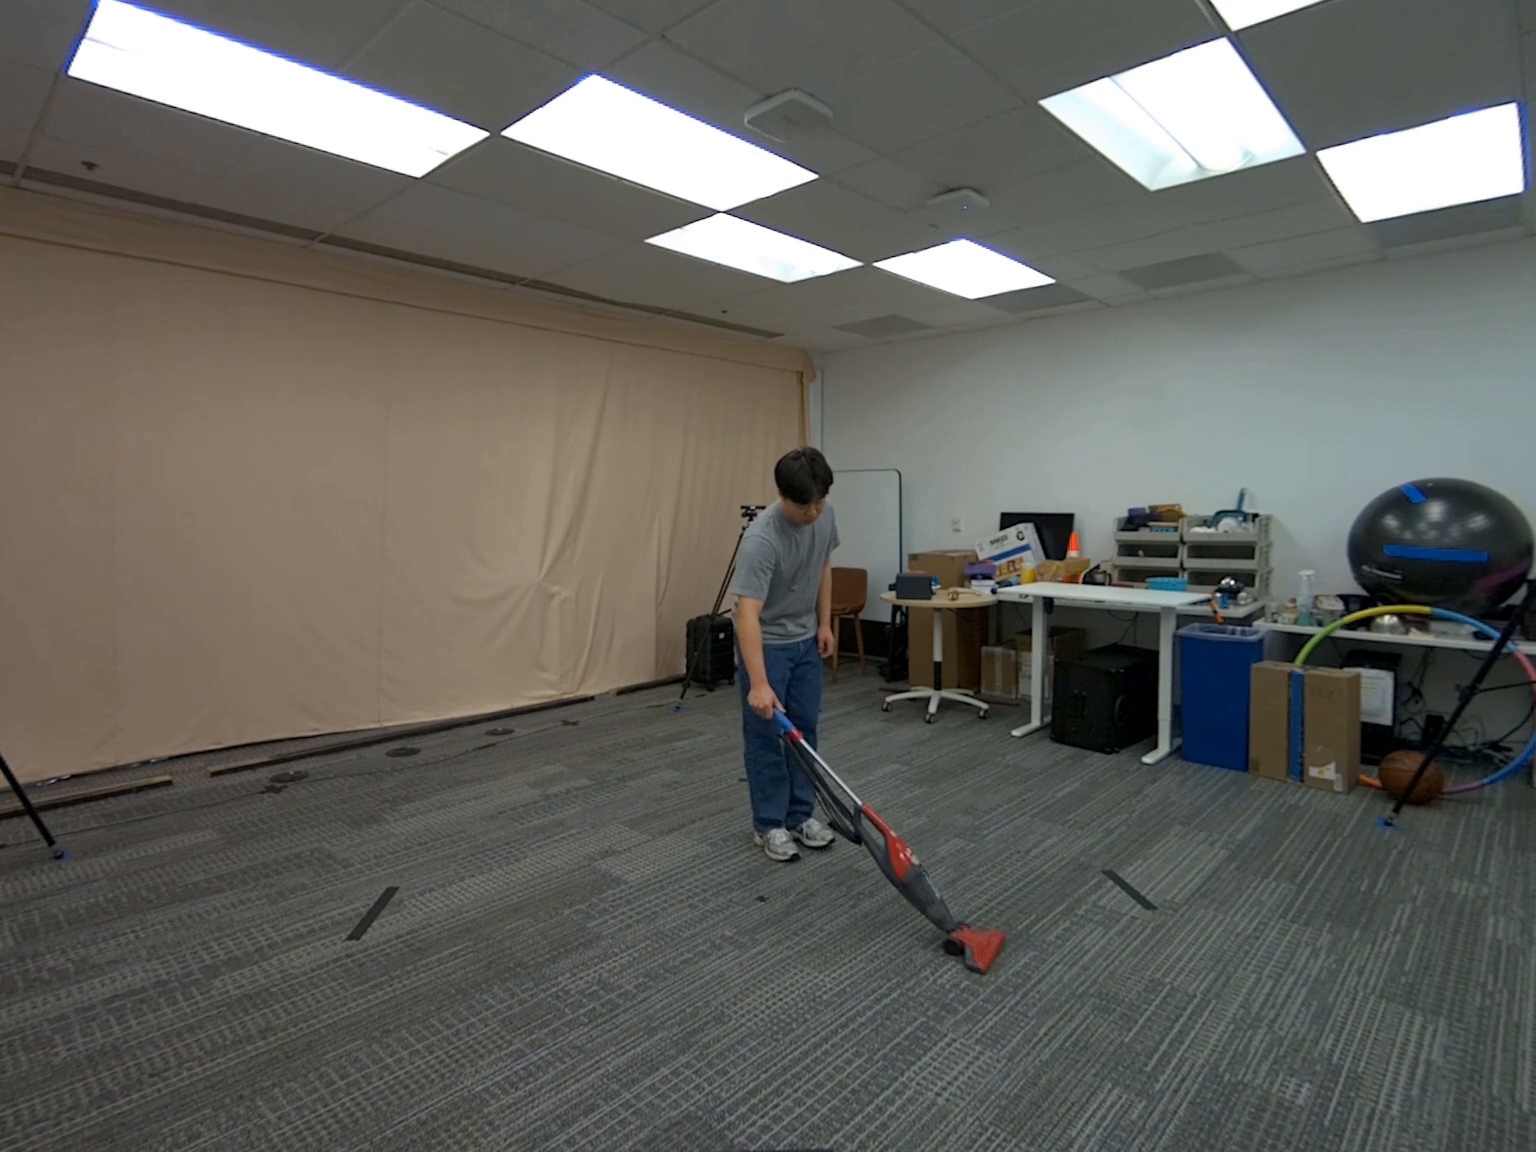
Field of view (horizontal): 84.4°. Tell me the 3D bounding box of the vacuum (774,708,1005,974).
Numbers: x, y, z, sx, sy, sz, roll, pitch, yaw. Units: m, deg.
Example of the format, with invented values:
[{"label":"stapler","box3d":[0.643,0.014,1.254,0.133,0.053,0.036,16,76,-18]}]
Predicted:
[{"label":"vacuum","box3d":[0.315,0.814,2.830,1.076,0.144,0.245,46,21,22]}]
